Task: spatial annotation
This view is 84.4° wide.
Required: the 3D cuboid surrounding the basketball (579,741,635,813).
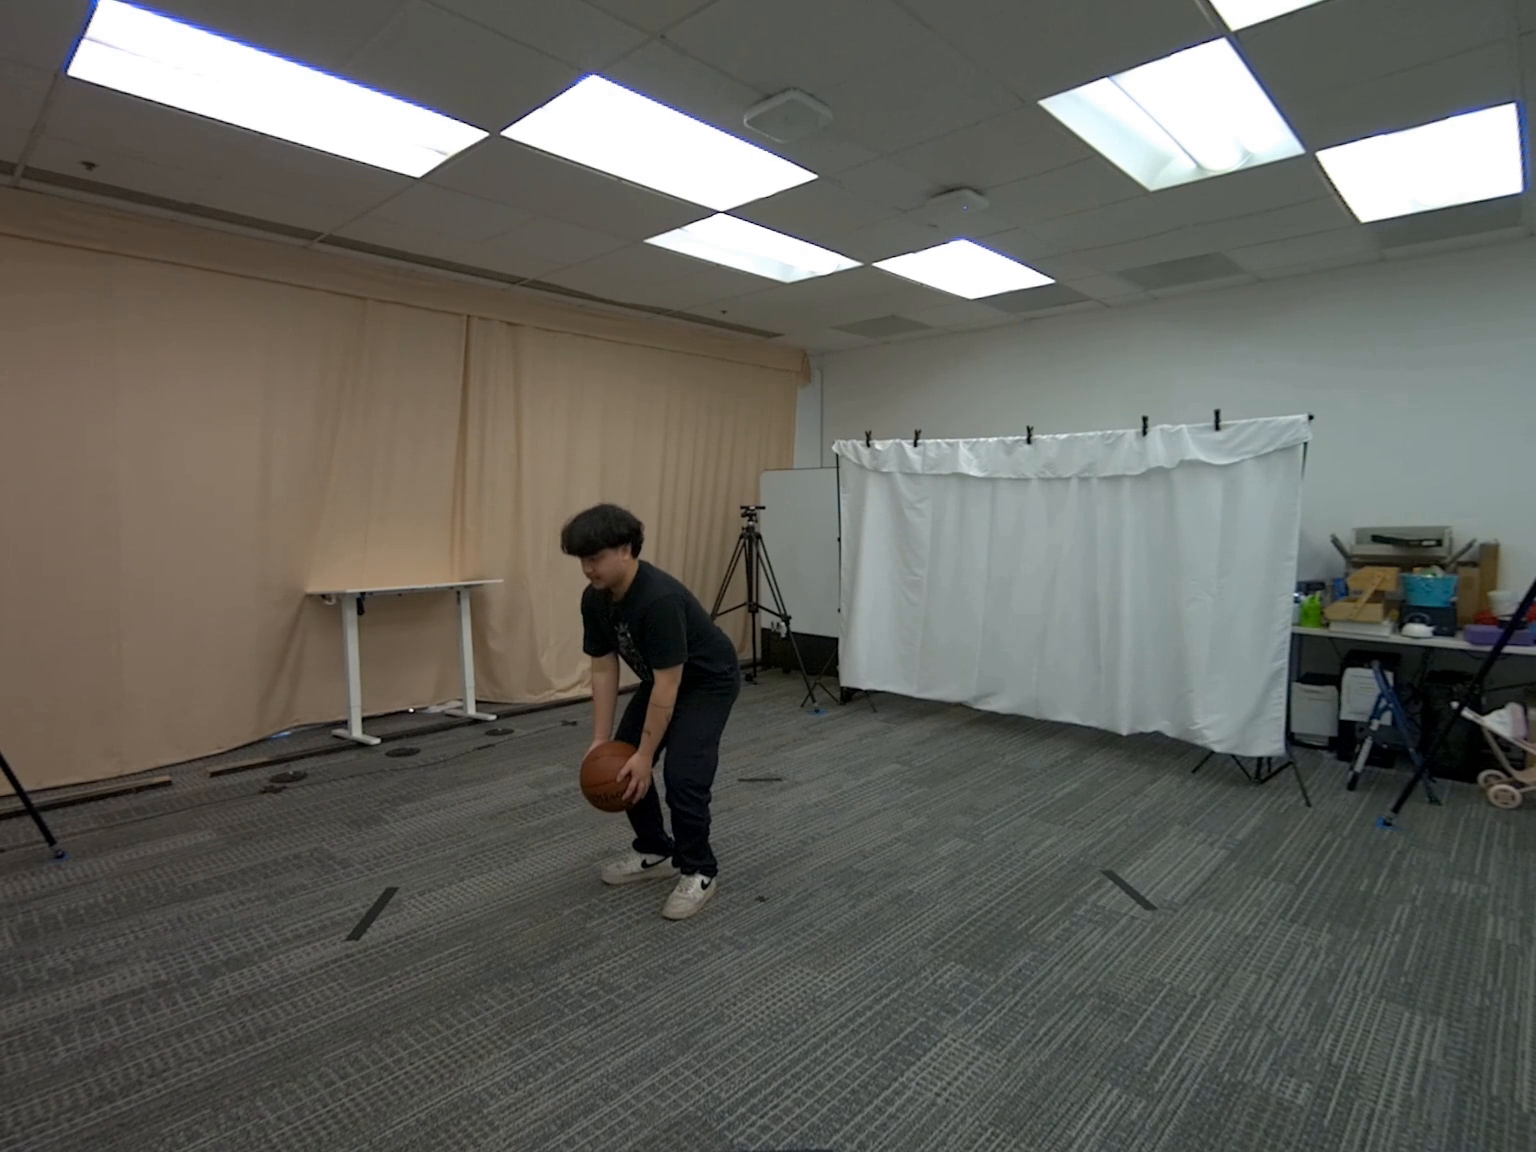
[{"bbox_3d":[-0.533,0.692,2.915,0.236,0.235,0.237,0,4,-2],"label":"basketball"}]
